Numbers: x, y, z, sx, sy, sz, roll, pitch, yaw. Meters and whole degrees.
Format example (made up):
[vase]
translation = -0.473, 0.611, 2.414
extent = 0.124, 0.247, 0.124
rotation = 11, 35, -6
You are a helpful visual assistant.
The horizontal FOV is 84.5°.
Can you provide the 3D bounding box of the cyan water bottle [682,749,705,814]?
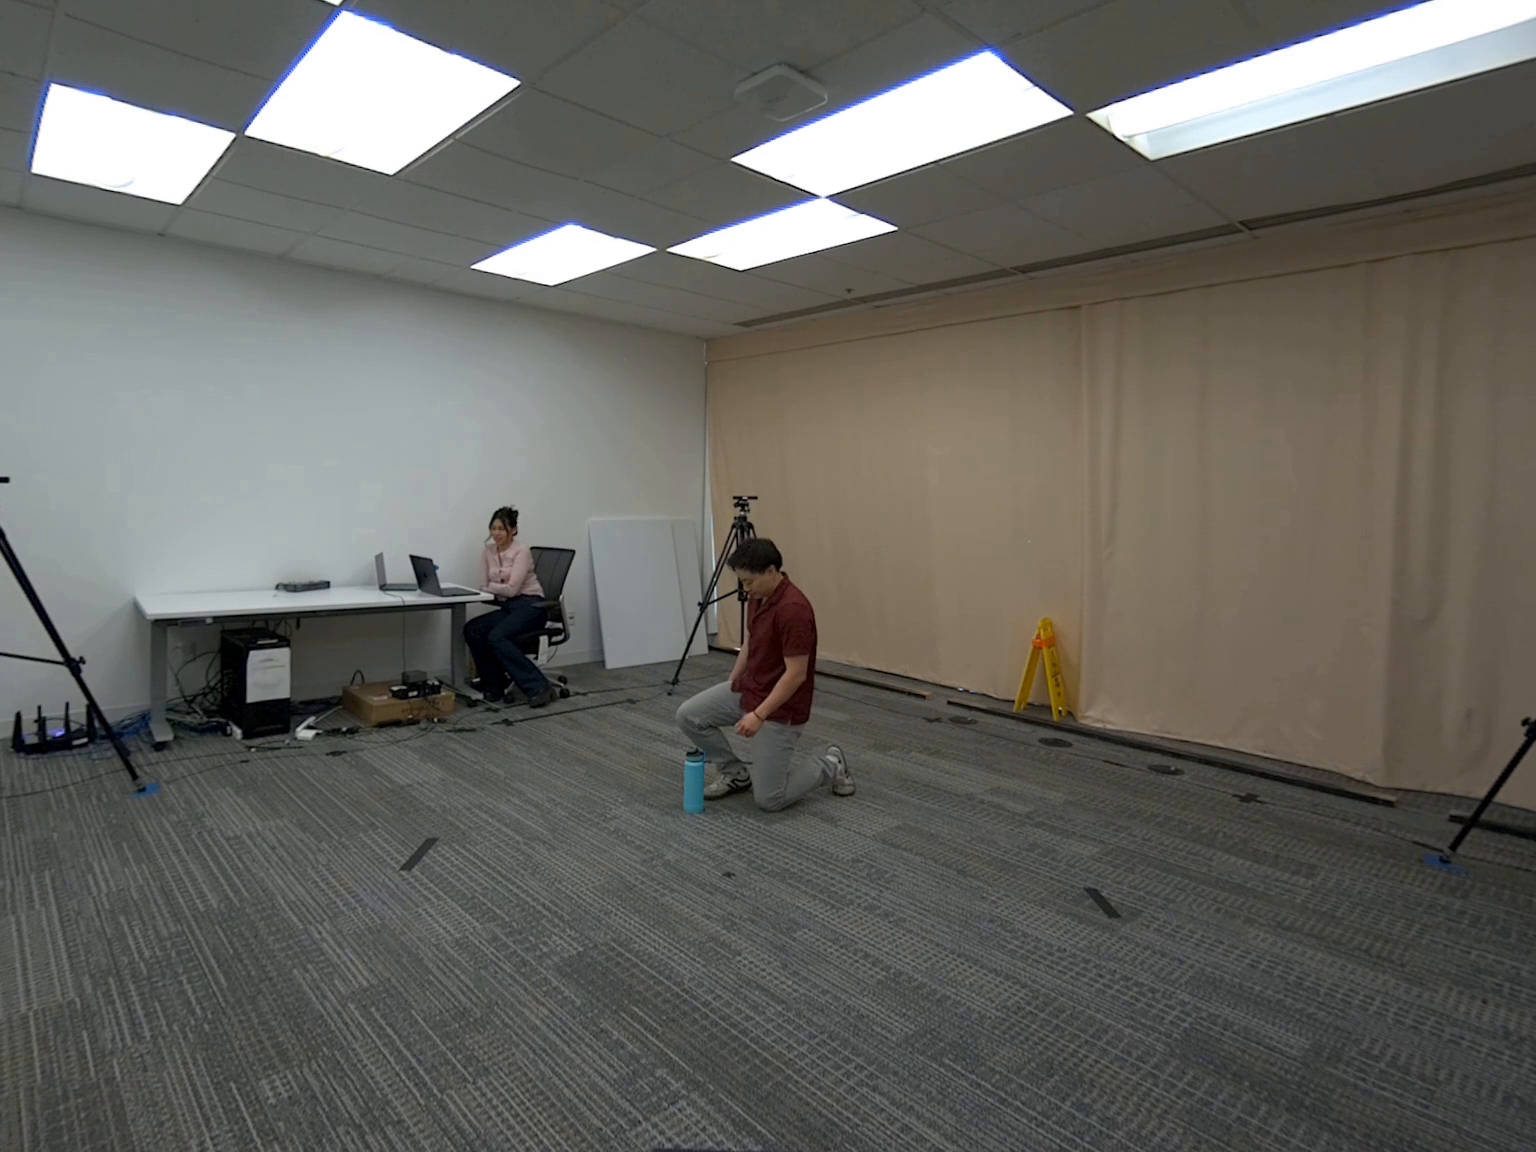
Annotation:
[cyan water bottle]
translation = -0.345, 0.905, 3.745
extent = 0.092, 0.282, 0.092
rotation = 2, 4, -2
